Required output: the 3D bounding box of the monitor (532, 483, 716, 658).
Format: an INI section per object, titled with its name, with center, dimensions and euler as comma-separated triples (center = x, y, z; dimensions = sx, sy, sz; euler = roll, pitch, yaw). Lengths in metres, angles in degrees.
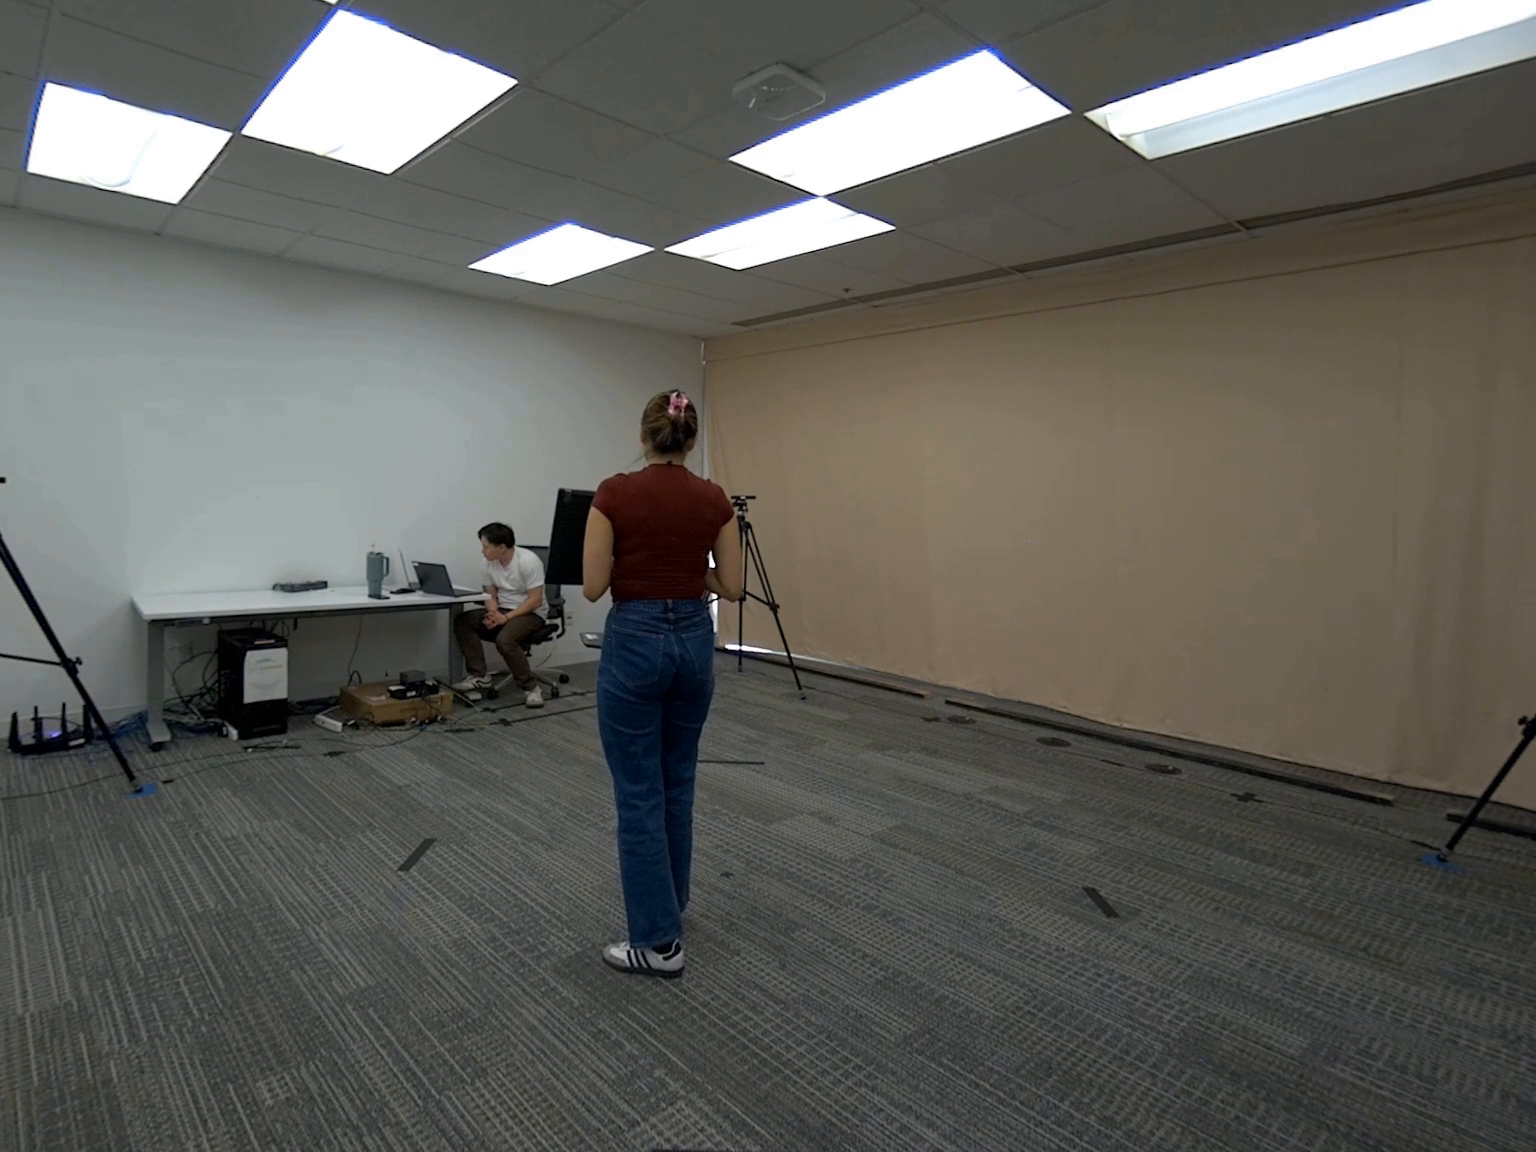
[monitor]
center = -0.465, -0.011, 2.802
dimensions = 0.528, 0.518, 0.192
euler = 3, 15, -26
